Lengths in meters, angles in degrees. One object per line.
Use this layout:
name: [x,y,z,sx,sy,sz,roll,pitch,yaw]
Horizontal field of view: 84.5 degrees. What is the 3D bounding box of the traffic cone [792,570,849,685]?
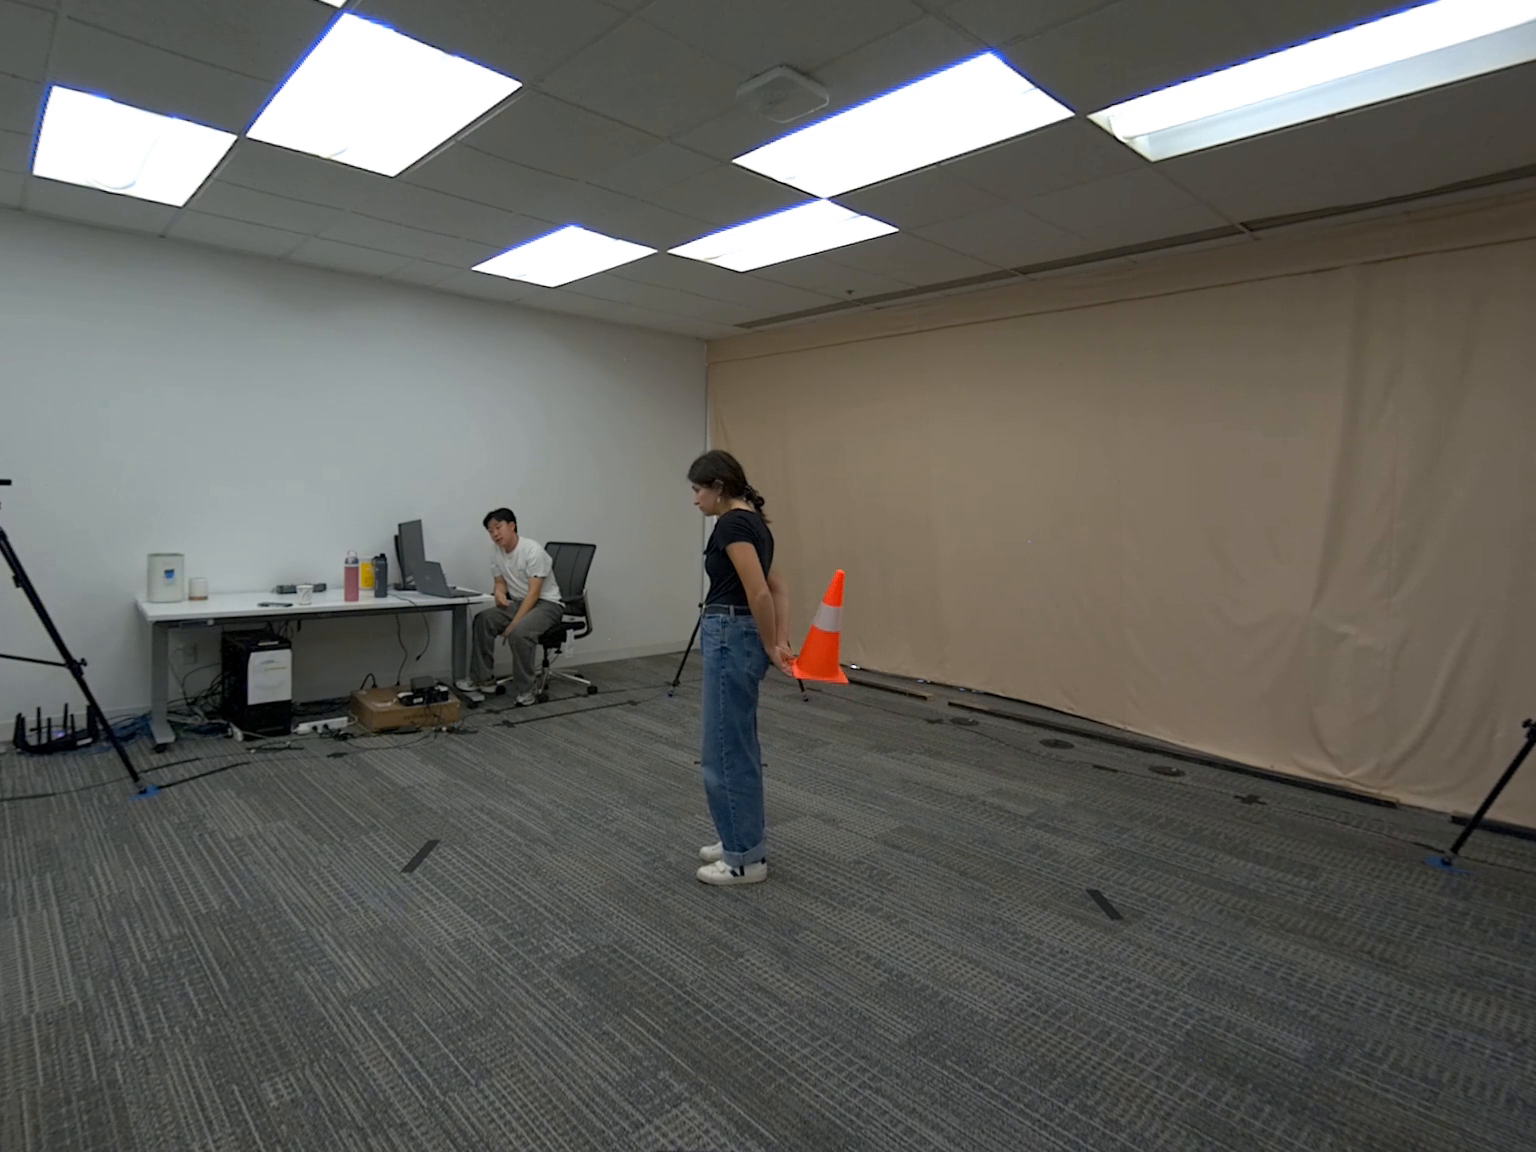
traffic cone: [0.199,0.170,3.005,0.201,0.380,0.208,10,17,-10]
